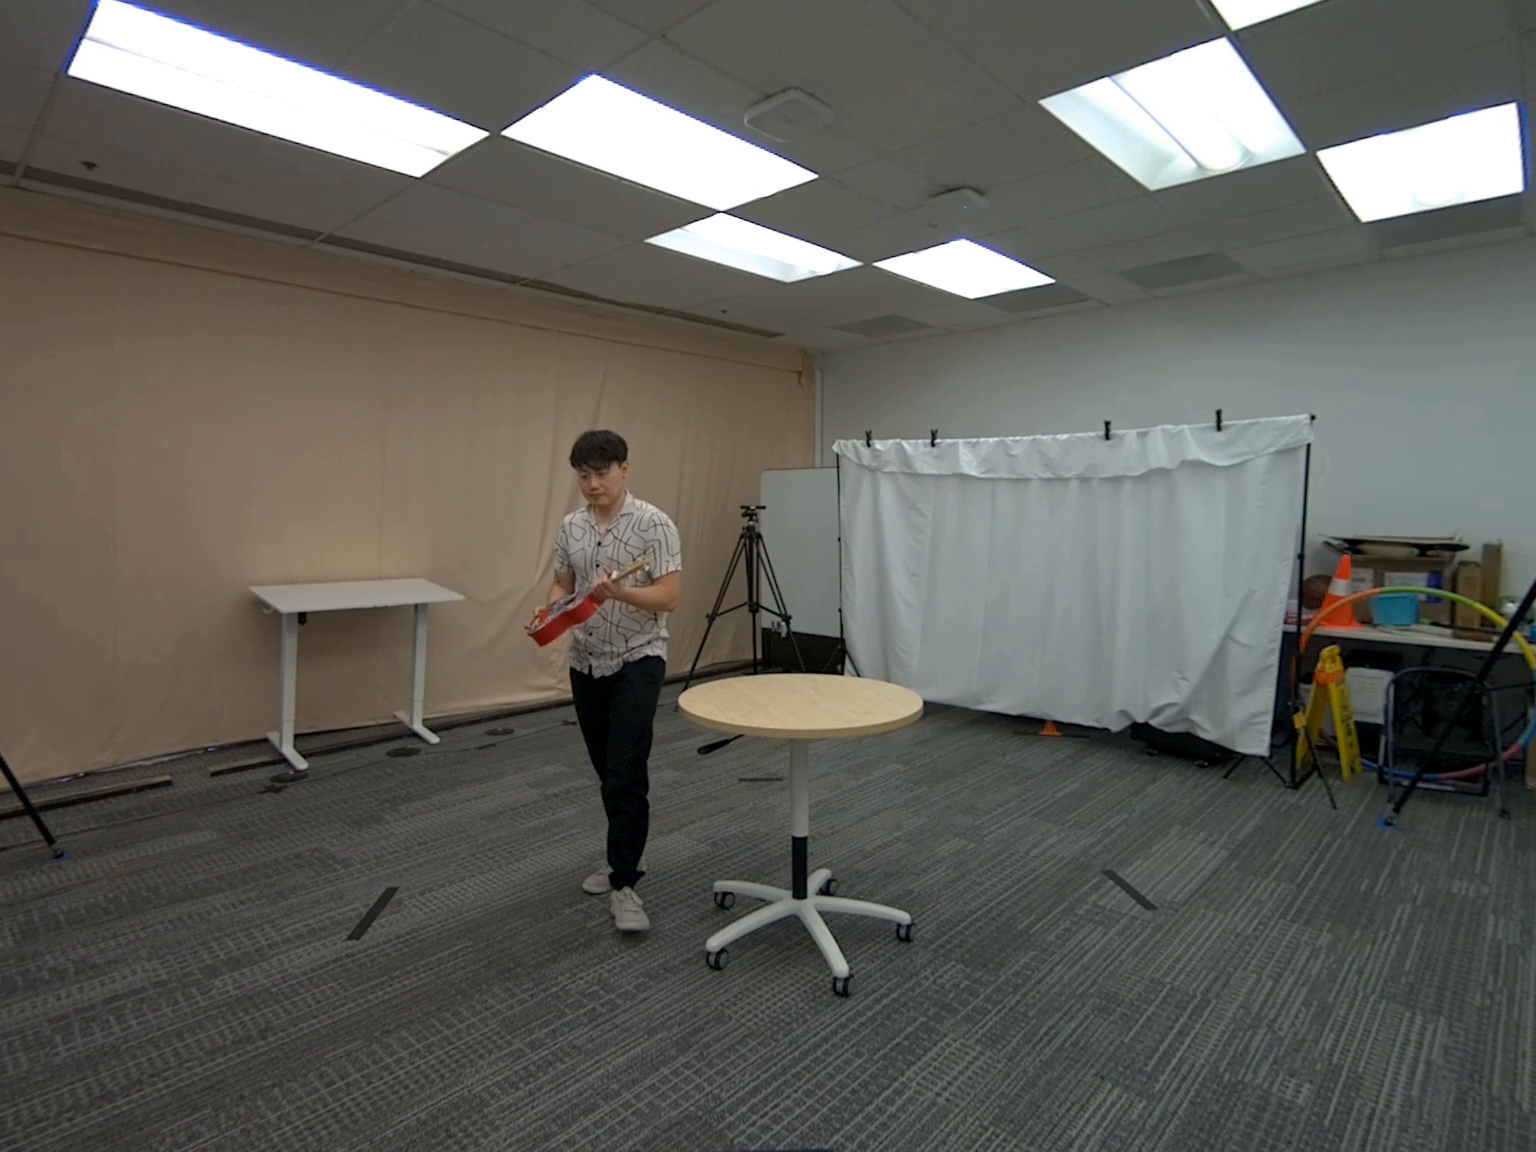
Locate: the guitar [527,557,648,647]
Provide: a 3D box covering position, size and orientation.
[{"bbox_3d":[-0.577,0.087,2.711,0.507,0.069,0.193,-25,22,30],"label":"guitar"}]
